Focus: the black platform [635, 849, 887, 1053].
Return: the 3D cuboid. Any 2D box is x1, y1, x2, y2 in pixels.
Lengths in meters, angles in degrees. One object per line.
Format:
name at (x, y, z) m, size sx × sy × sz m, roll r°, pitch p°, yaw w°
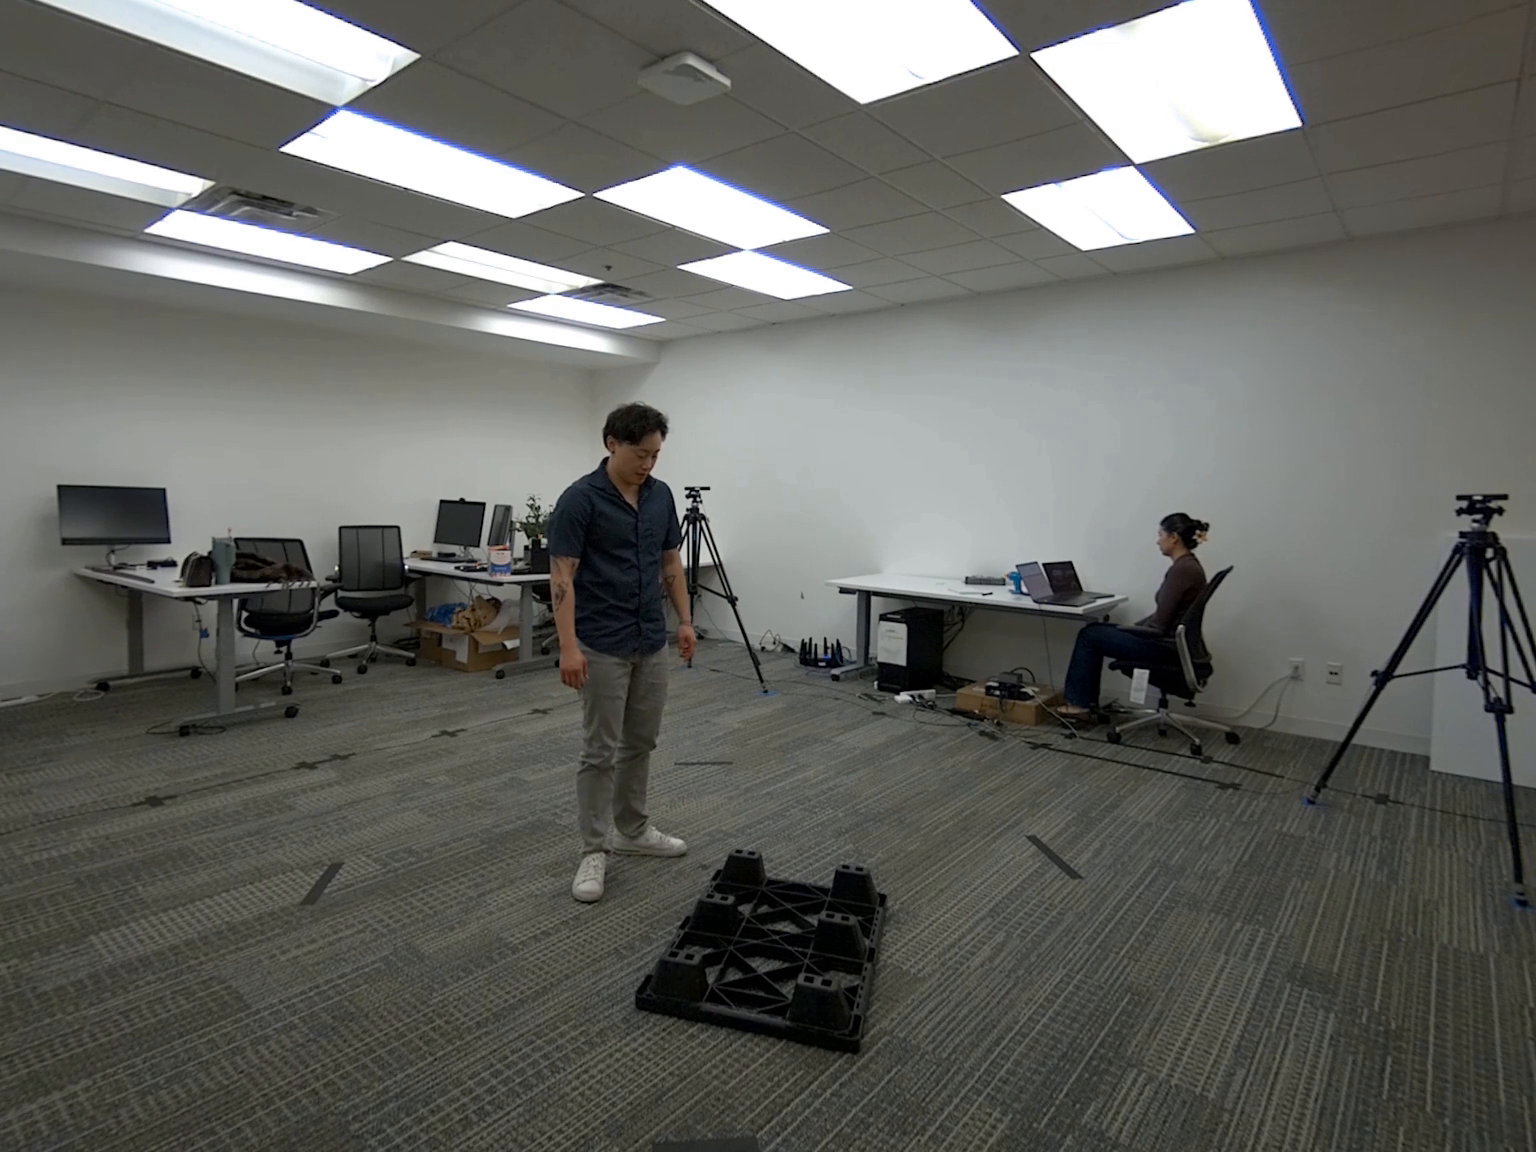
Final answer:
black platform at (0.022, 1.060, 2.550) m, size 0.615 × 0.143 × 0.796 m, roll 2°, pitch 6°, yaw 14°
